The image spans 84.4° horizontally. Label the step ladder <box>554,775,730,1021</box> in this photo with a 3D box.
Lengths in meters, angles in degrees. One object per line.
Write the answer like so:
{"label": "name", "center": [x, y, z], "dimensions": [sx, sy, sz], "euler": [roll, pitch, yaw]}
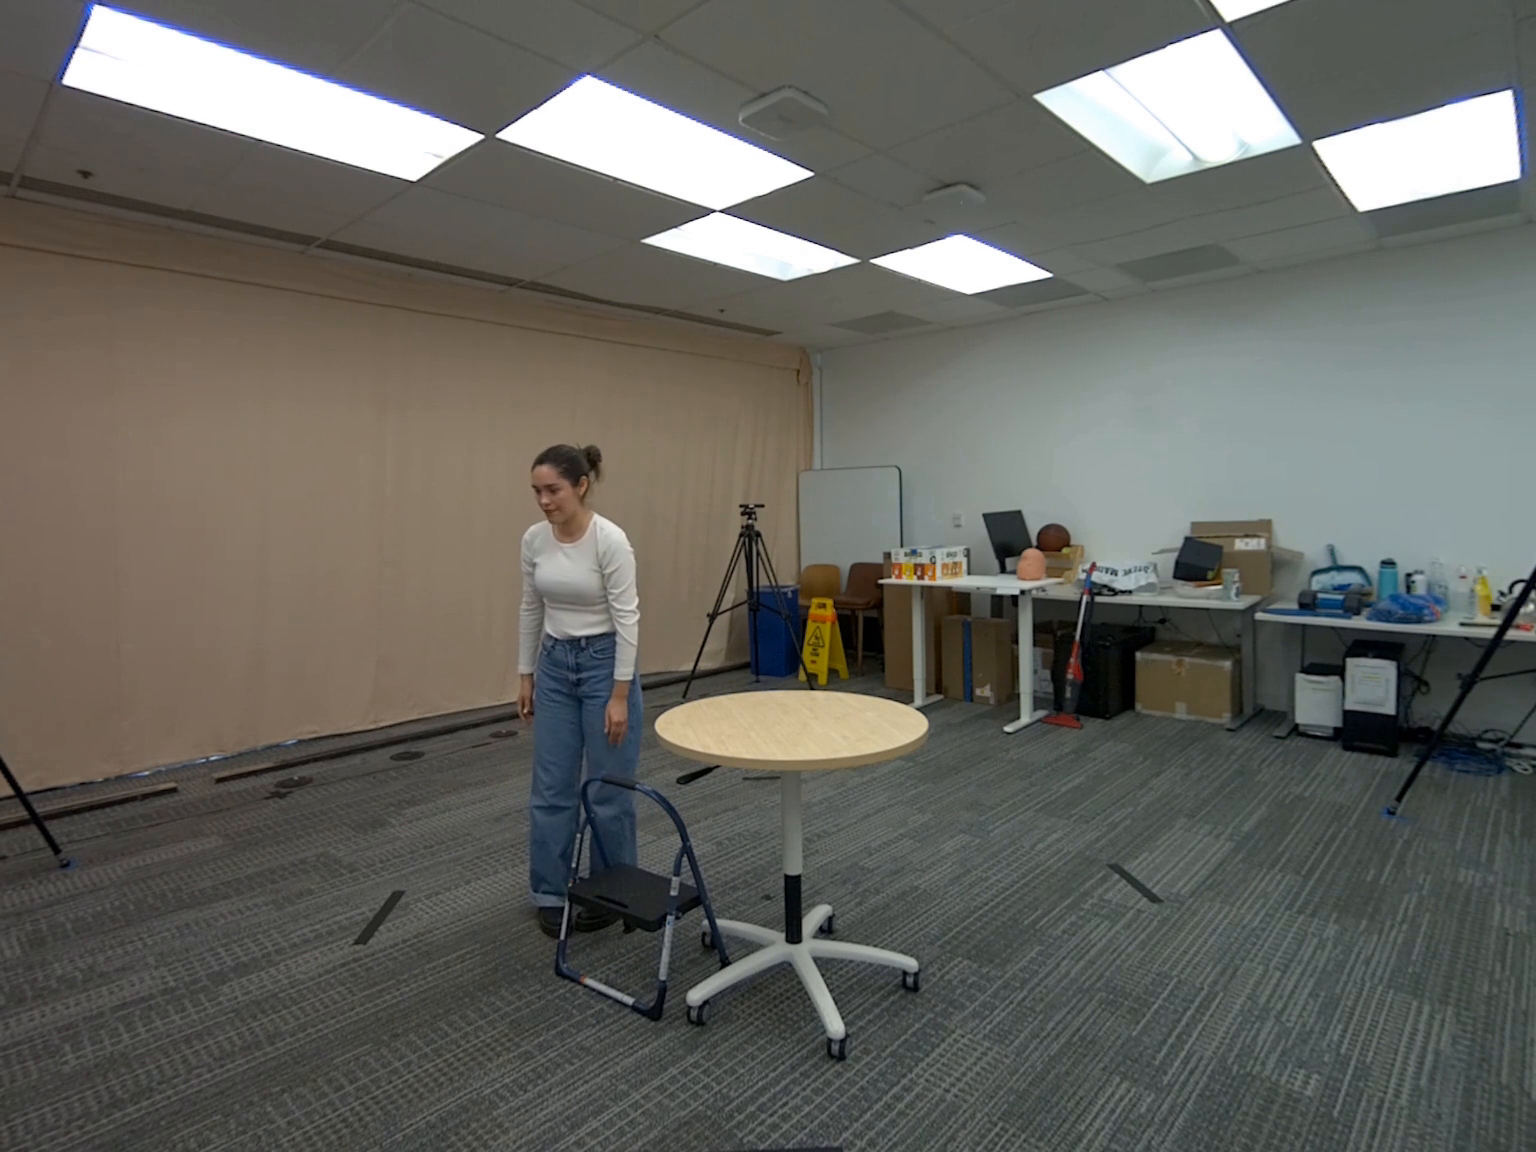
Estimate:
{"label": "step ladder", "center": [-0.382, 0.882, 2.519], "dimensions": [0.444, 0.605, 0.339], "euler": [1, 4, 35]}
